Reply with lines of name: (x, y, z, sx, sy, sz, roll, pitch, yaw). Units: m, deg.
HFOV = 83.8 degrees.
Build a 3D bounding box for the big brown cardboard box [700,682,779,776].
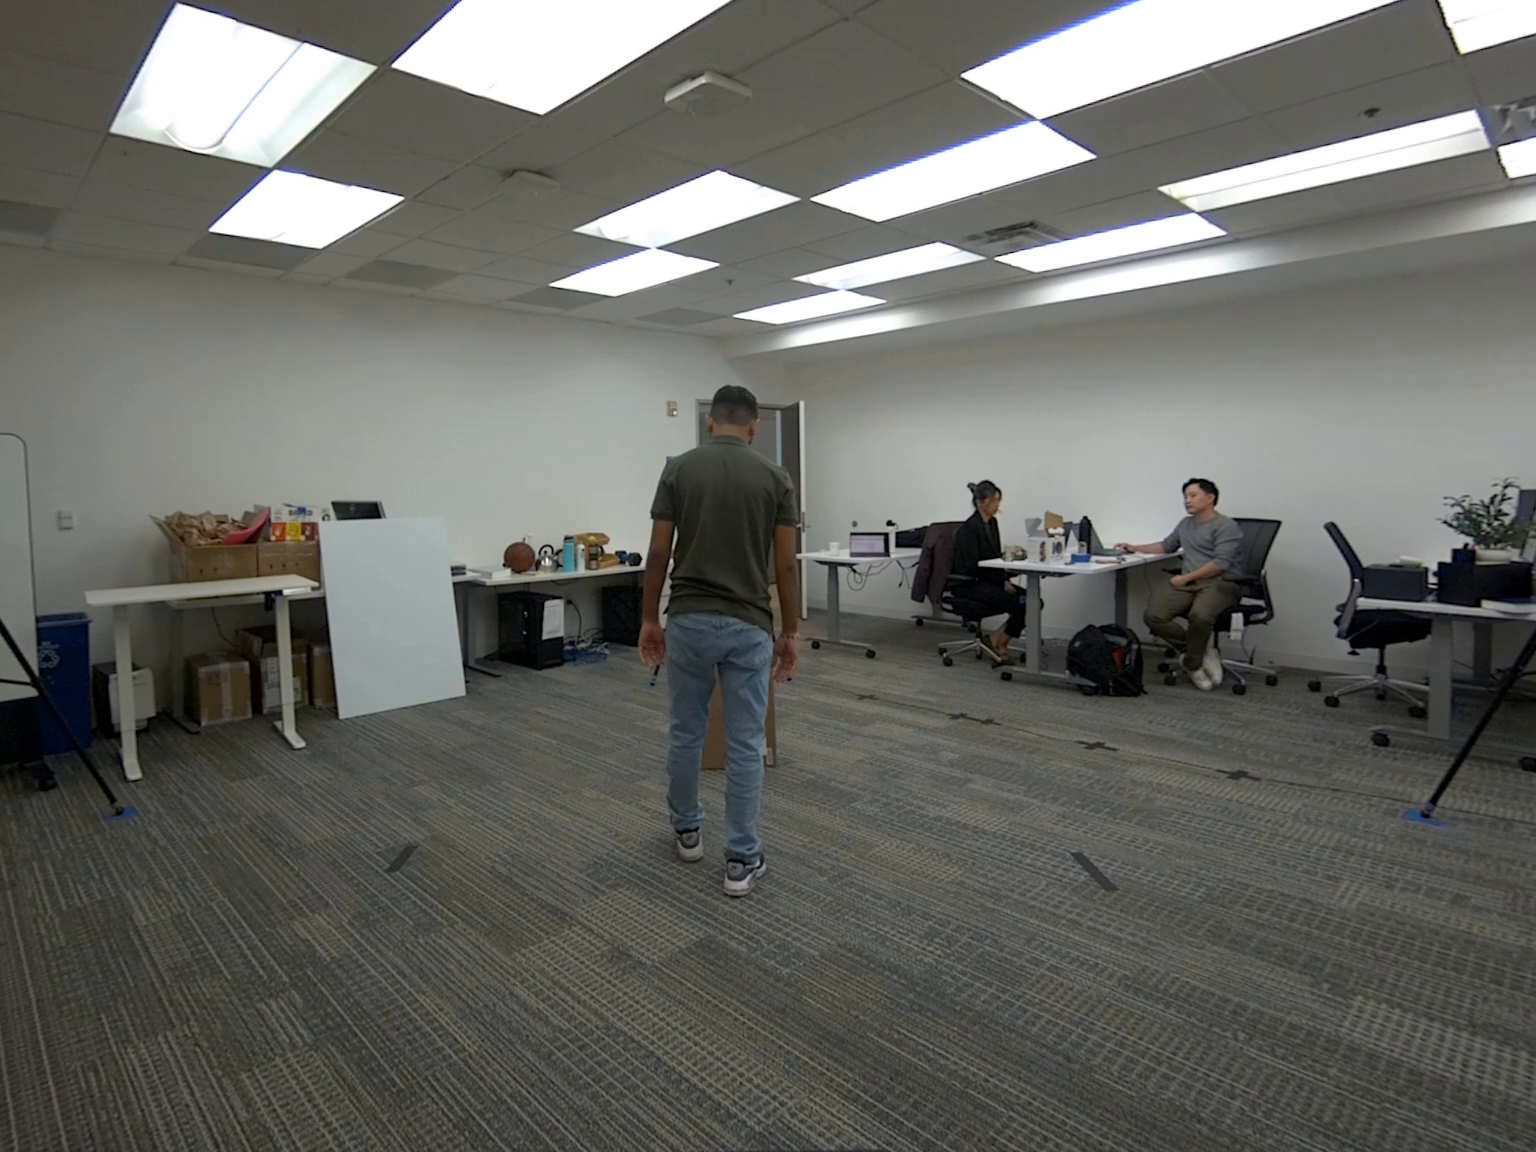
big brown cardboard box: (-0.180, 0.645, 4.228, 0.416, 0.587, 0.234, -2, 3, -4)
